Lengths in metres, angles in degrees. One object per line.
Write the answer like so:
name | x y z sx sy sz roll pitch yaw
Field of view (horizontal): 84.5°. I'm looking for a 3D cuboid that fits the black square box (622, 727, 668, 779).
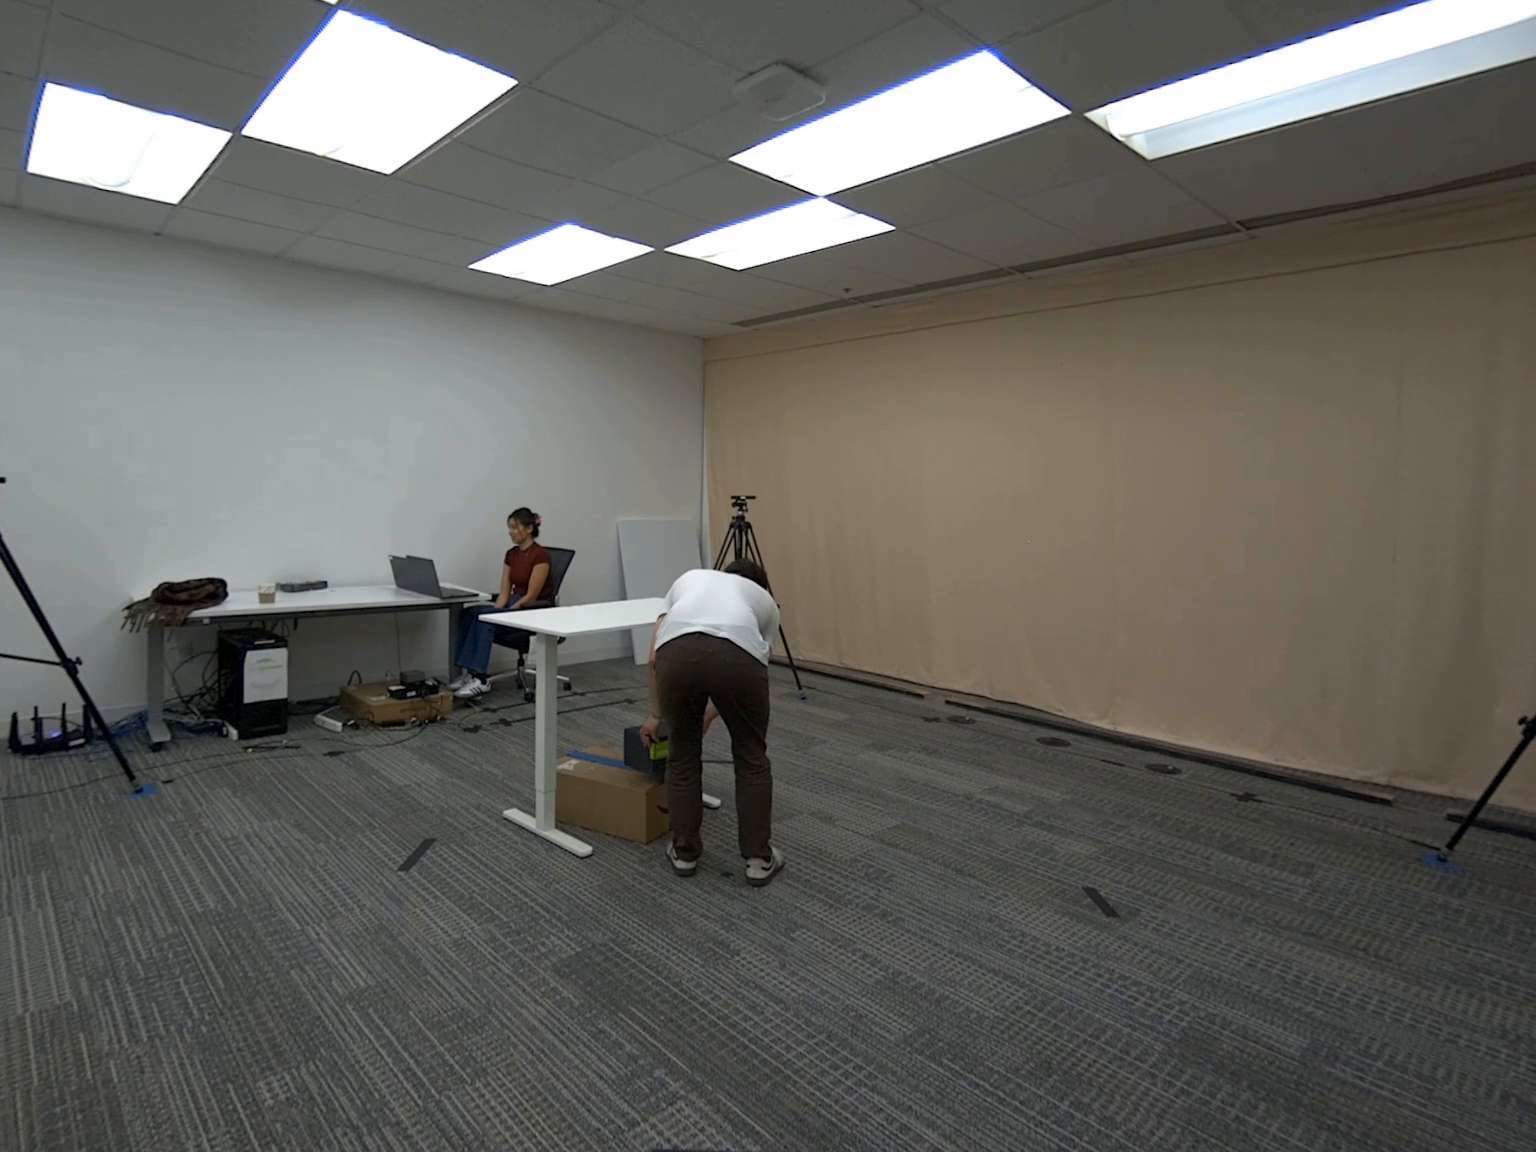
black square box | -0.453 0.715 3.502 0.222 0.156 0.222 -2 4 -43
